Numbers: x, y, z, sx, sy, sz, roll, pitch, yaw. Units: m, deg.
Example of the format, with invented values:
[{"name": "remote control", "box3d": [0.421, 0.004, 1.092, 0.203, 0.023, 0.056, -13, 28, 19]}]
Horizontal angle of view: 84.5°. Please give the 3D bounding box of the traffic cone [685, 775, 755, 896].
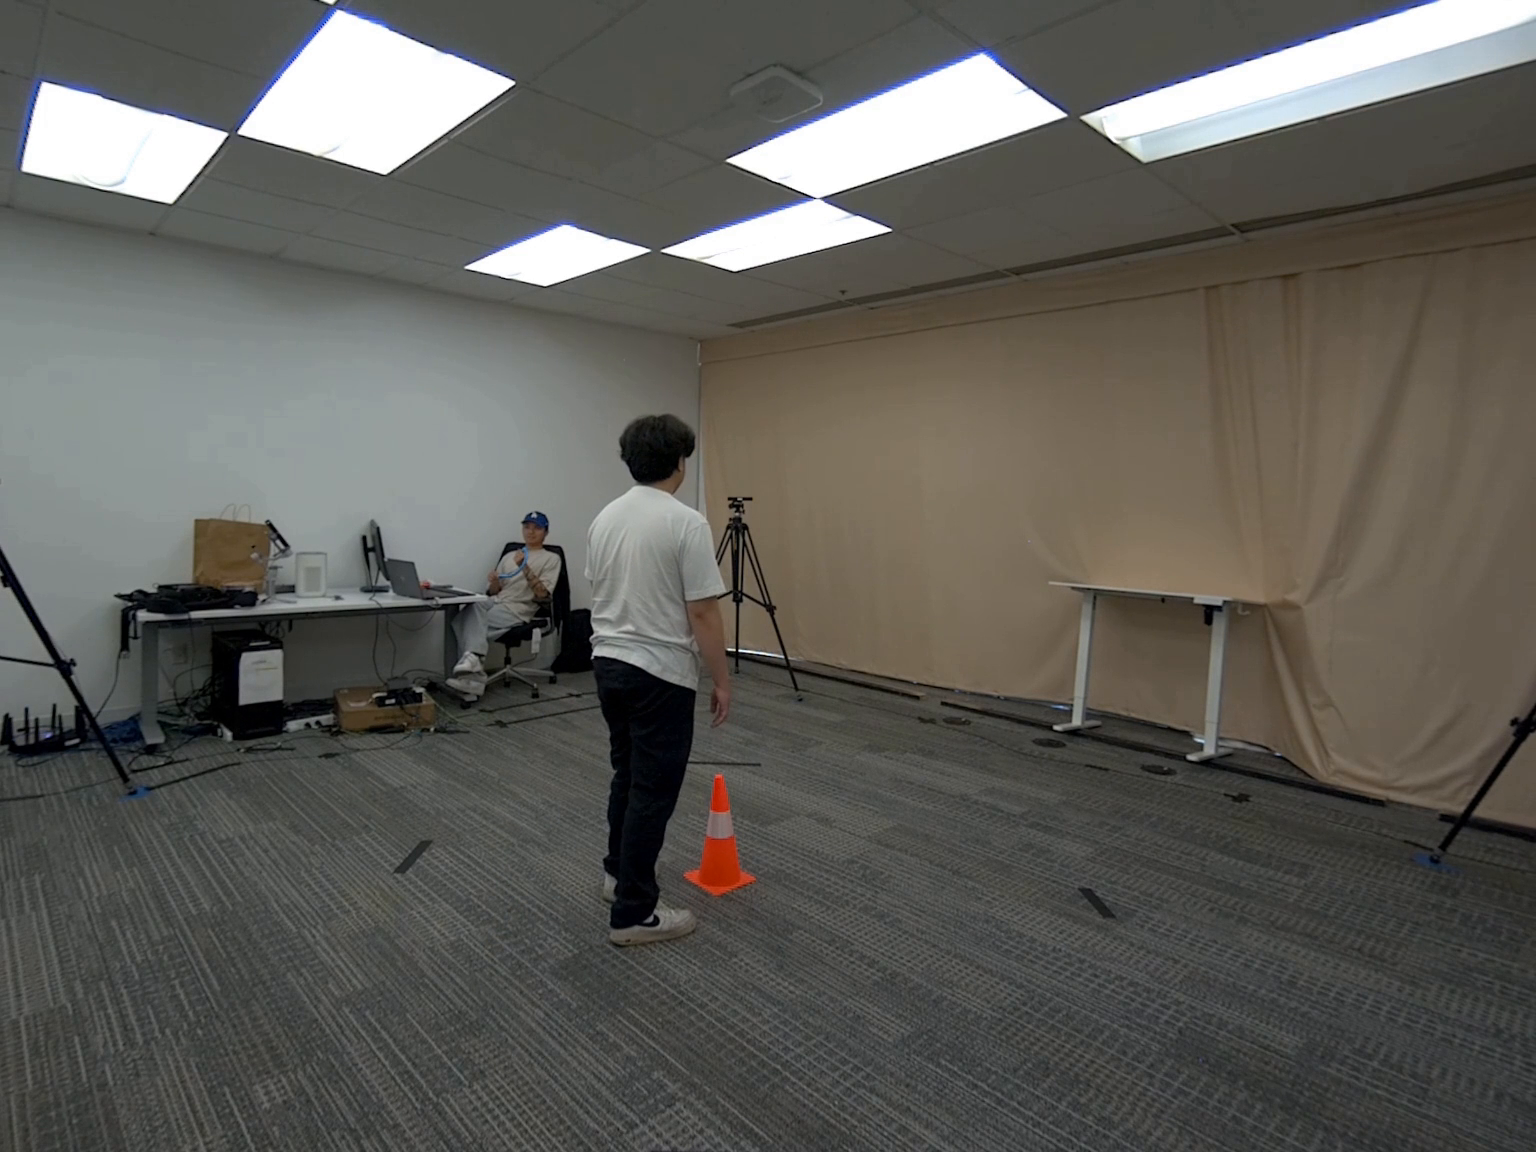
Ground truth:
[{"name": "traffic cone", "box3d": [-0.185, 0.925, 3.078, 0.210, 0.383, 0.199, 3, 4, 40]}]
